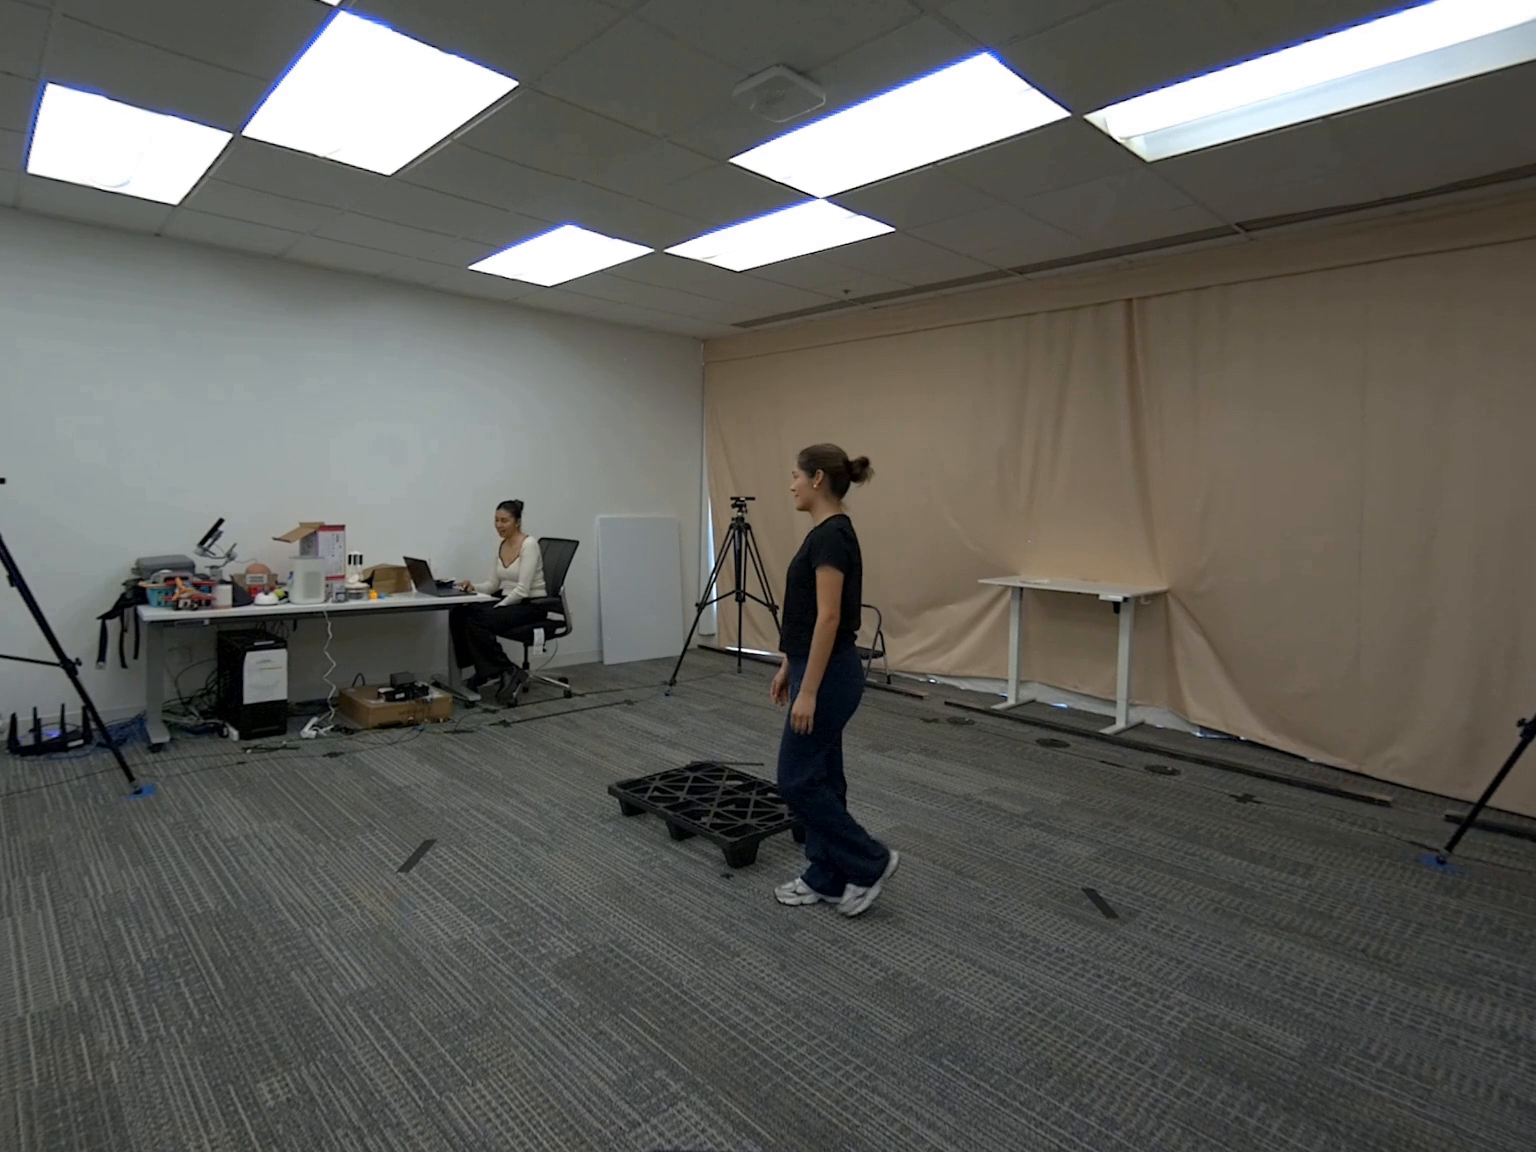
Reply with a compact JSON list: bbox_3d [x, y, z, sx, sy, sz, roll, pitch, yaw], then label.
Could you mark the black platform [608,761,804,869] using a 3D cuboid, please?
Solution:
[{"bbox_3d":[-0.220,0.999,3.560,0.591,0.143,0.826,-4,7,-44],"label":"black platform"}]
